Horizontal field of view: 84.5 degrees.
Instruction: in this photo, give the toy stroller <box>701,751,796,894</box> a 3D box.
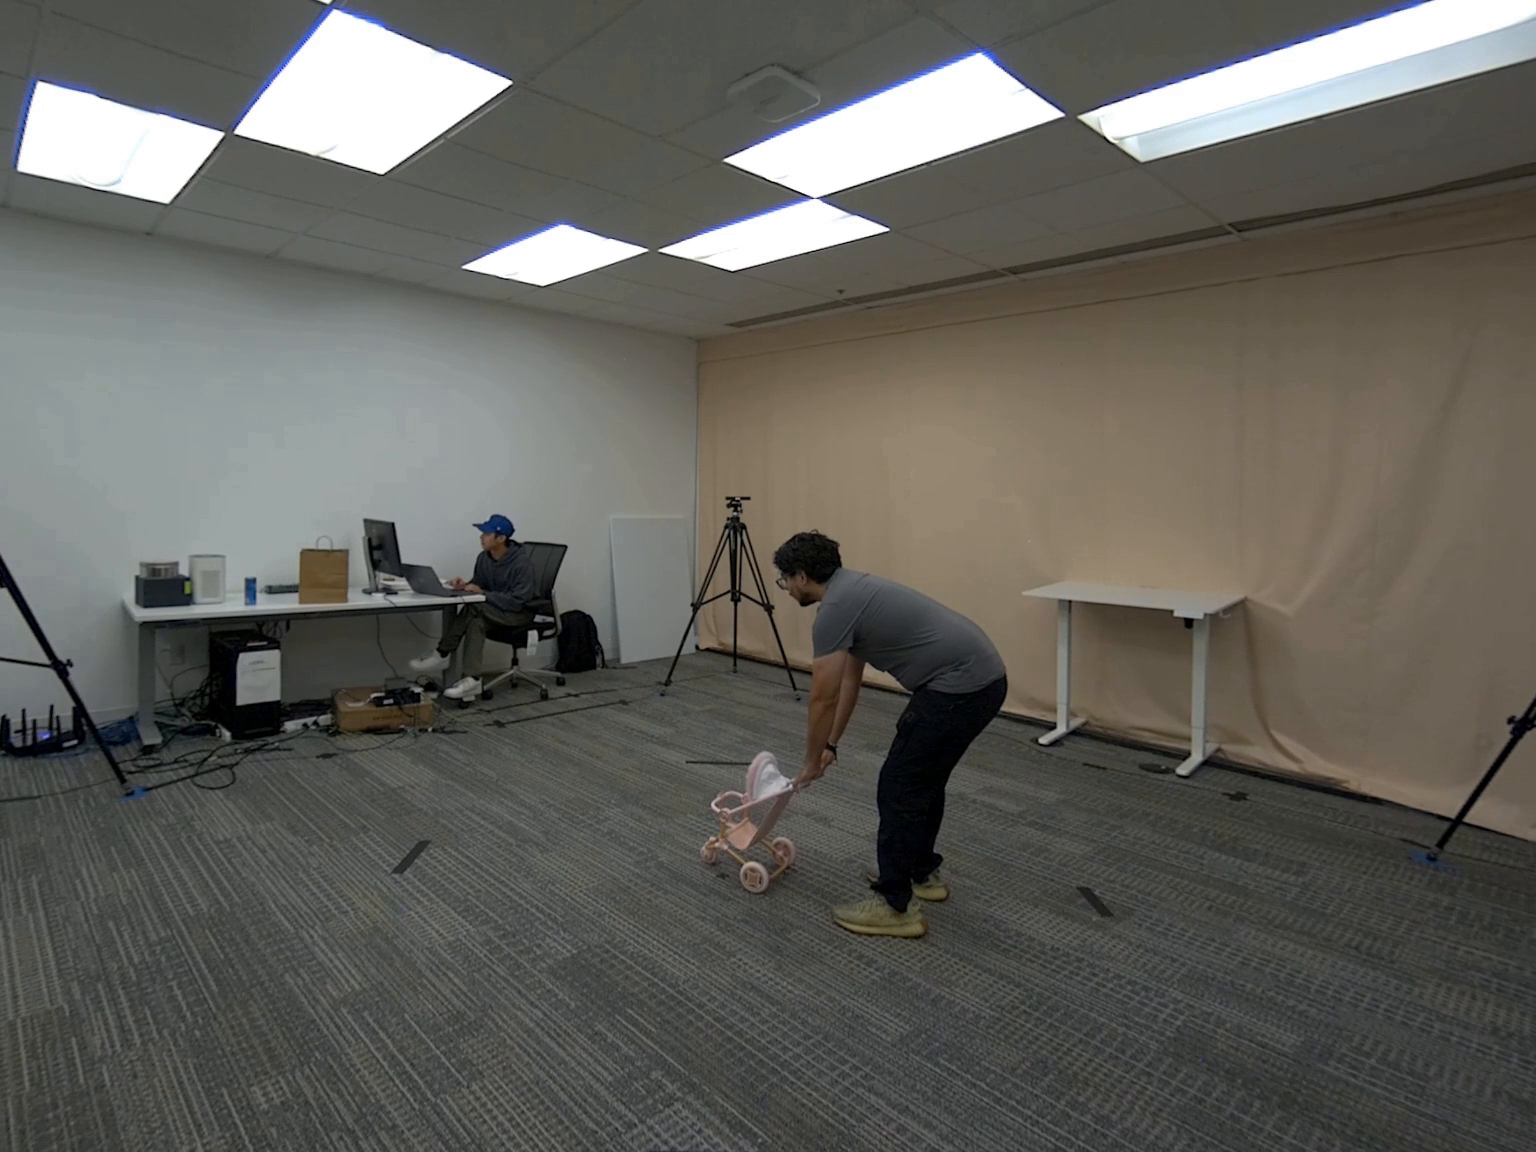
[{"bbox_3d":[-0.053,0.884,3.110,0.350,0.532,0.276,24,14,29],"label":"toy stroller"}]
